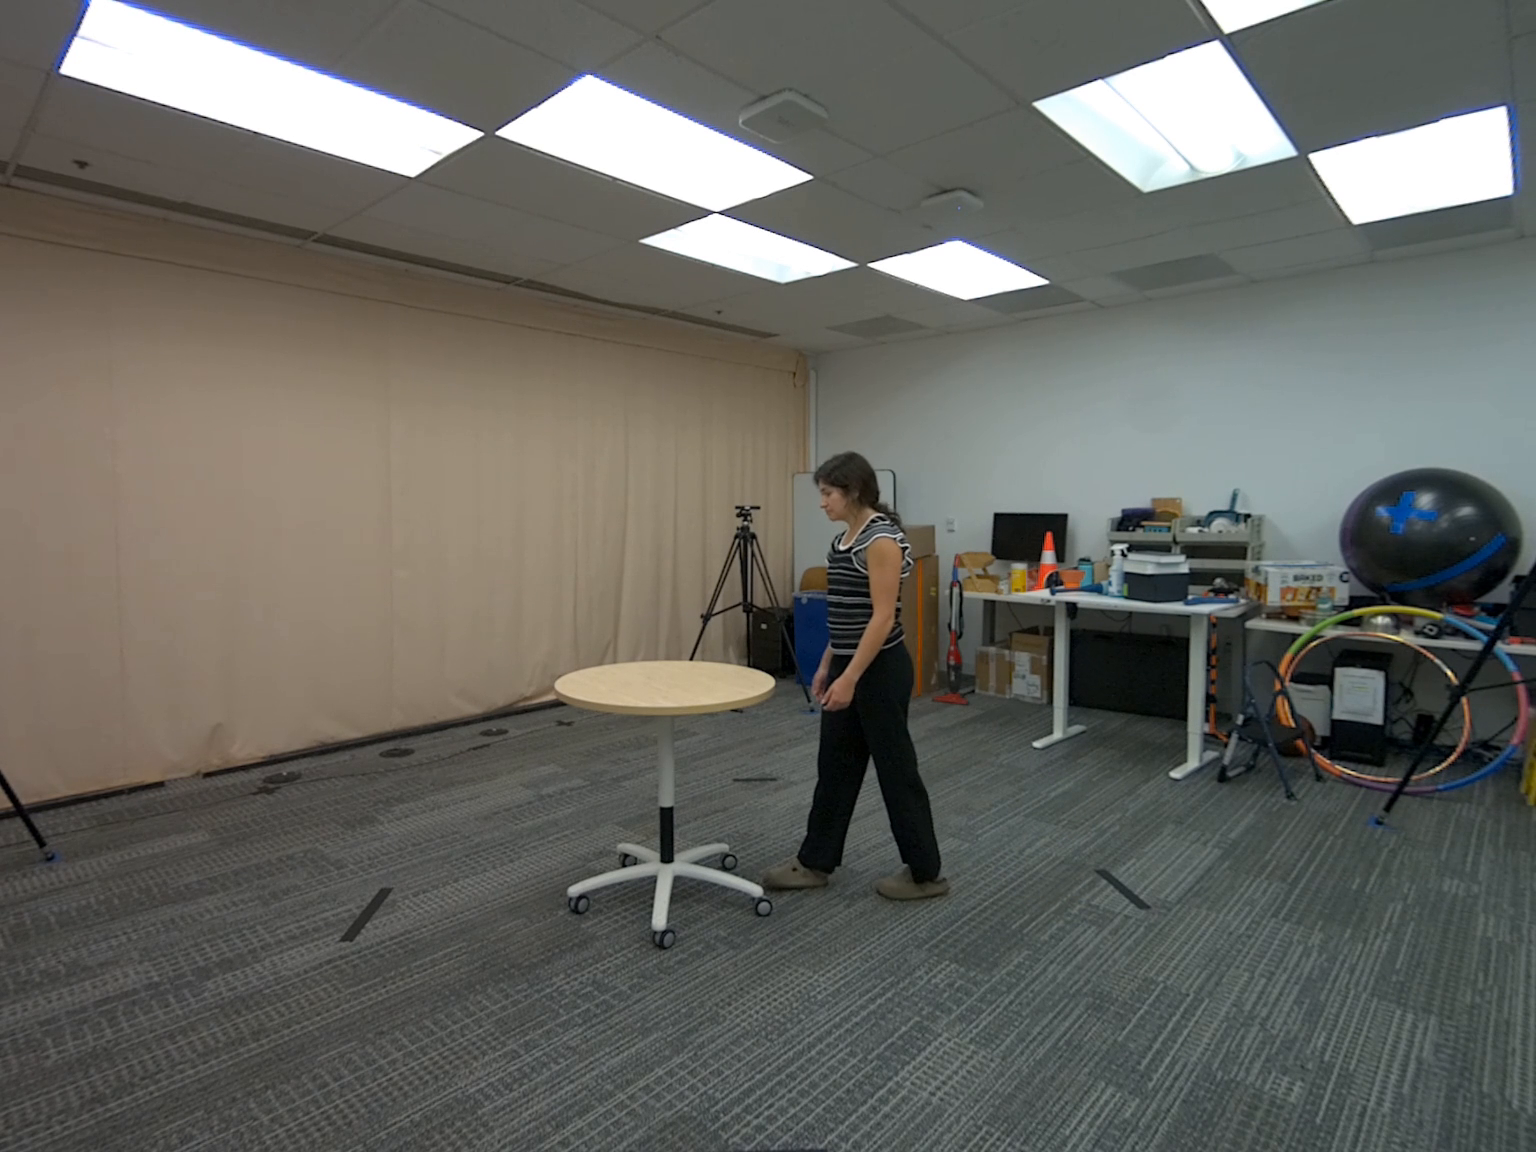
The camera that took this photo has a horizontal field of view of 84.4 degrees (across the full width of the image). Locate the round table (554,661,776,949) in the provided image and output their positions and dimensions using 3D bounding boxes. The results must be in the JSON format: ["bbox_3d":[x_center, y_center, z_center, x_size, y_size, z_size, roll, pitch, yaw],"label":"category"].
[{"bbox_3d":[-0.355,0.764,2.969,0.763,0.792,0.766,0,3,-2],"label":"round table"}]
